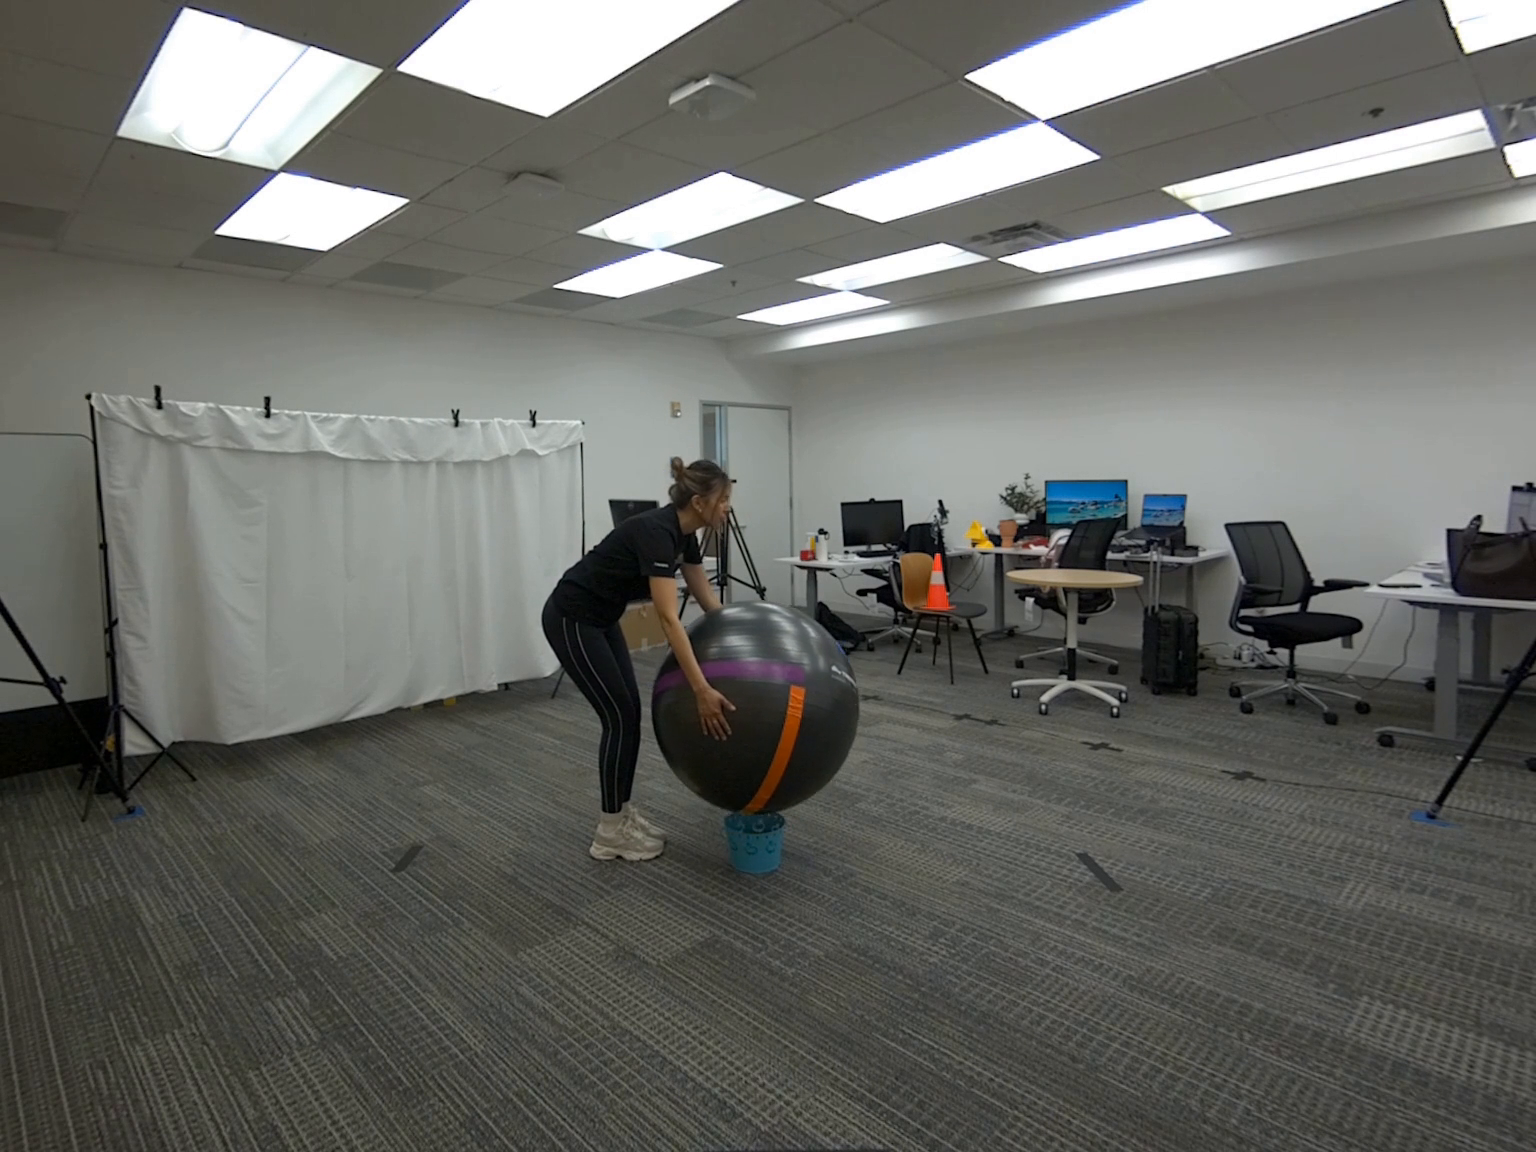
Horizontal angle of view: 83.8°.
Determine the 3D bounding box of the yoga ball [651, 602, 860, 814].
[{"bbox_3d":[-0.042,0.467,3.128,0.757,0.755,0.762,-1,5,-2],"label":"yoga ball"}]
